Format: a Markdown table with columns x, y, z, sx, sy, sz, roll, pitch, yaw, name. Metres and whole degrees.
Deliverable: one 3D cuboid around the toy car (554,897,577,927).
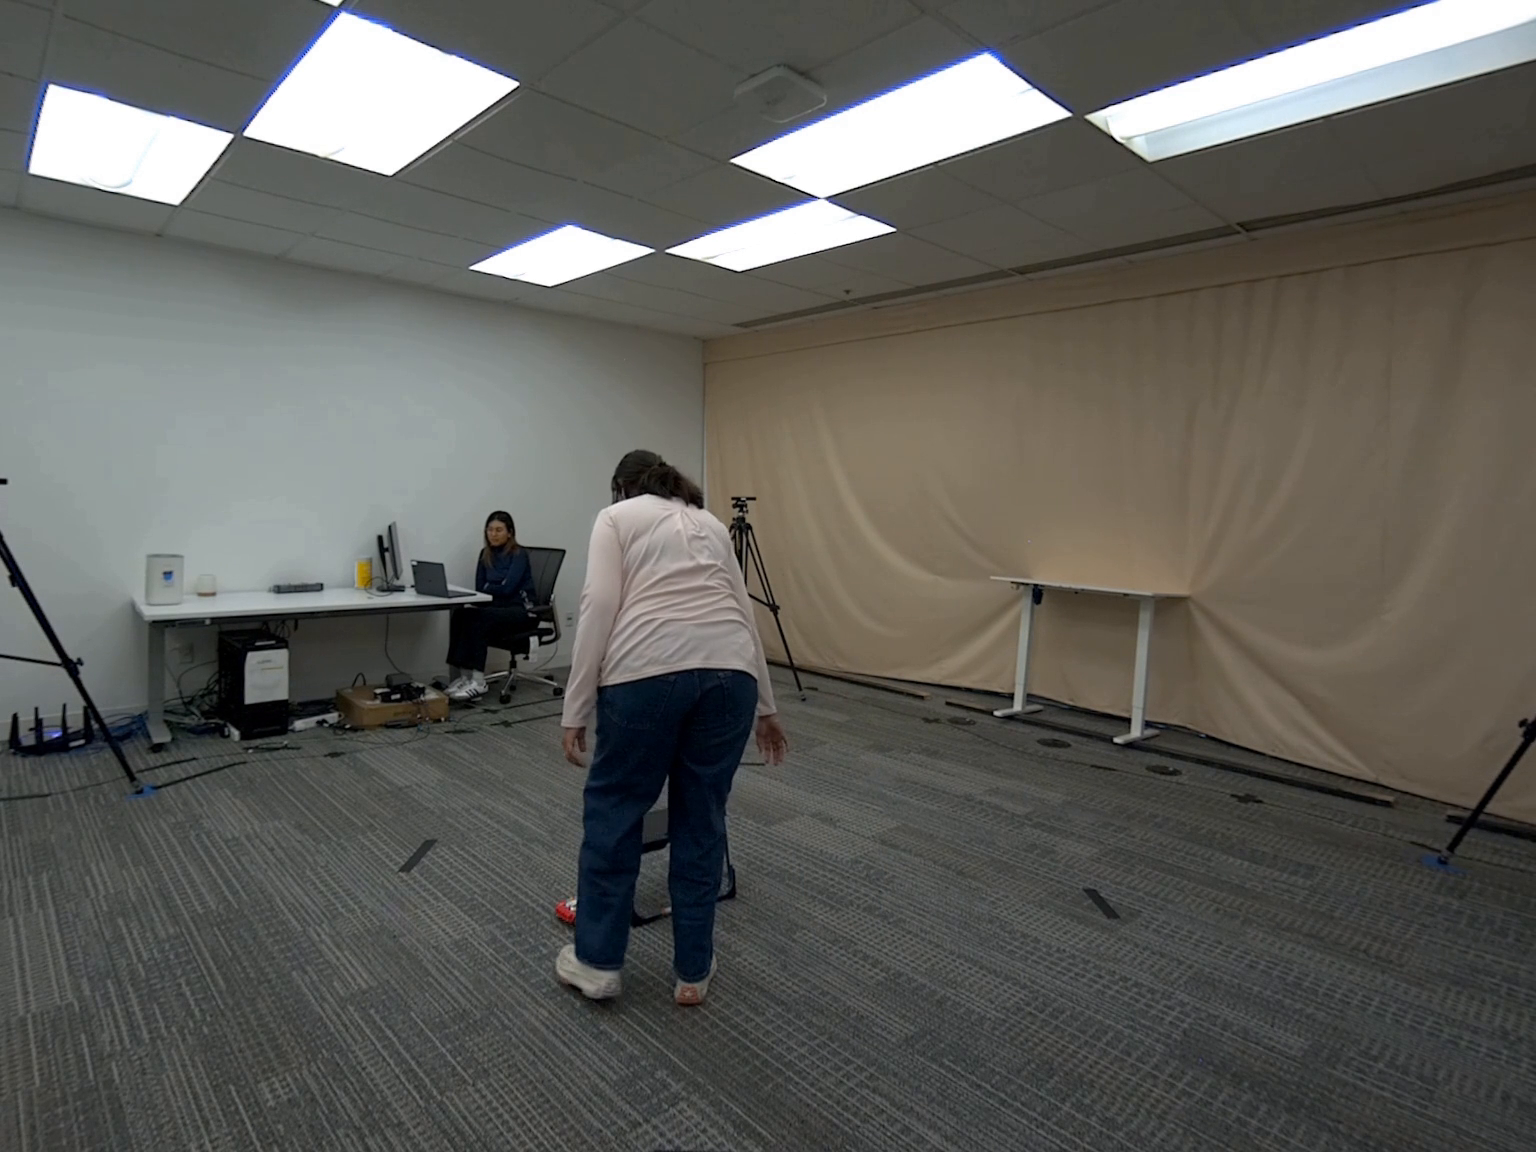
| x | y | z | sx | sy | sz | roll | pitch | yaw | name |
| --- | --- | --- | --- | --- | --- | --- | --- | --- | --- |
| -0.587 | 1.097 | 2.804 | 0.133 | 0.082 | 0.250 | 6 | 18 | 45 | toy car |
